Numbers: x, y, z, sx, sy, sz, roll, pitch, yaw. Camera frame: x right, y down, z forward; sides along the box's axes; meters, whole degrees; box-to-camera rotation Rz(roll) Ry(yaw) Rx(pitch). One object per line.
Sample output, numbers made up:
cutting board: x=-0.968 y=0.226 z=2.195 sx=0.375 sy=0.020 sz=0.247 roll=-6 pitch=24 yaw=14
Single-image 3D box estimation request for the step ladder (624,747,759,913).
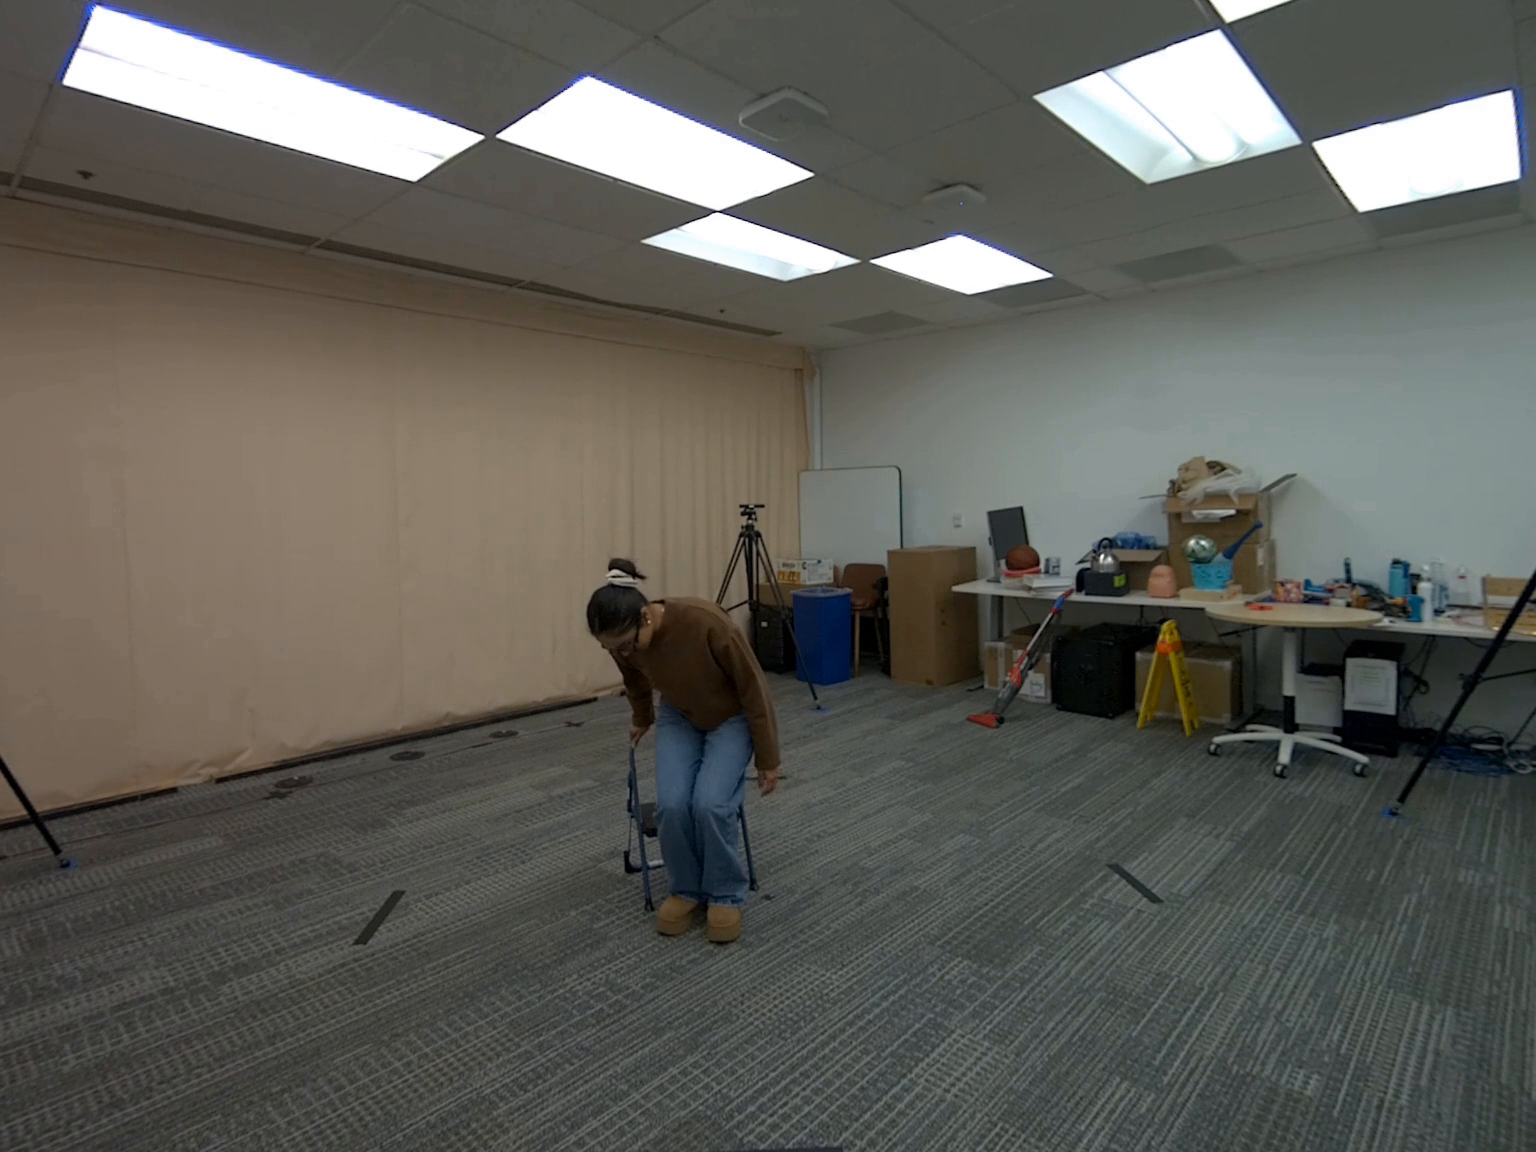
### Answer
step ladder: x=-0.297 y=0.834 z=3.117 sx=0.421 sy=0.605 sz=0.357 roll=-2 pitch=4 yaw=-22
